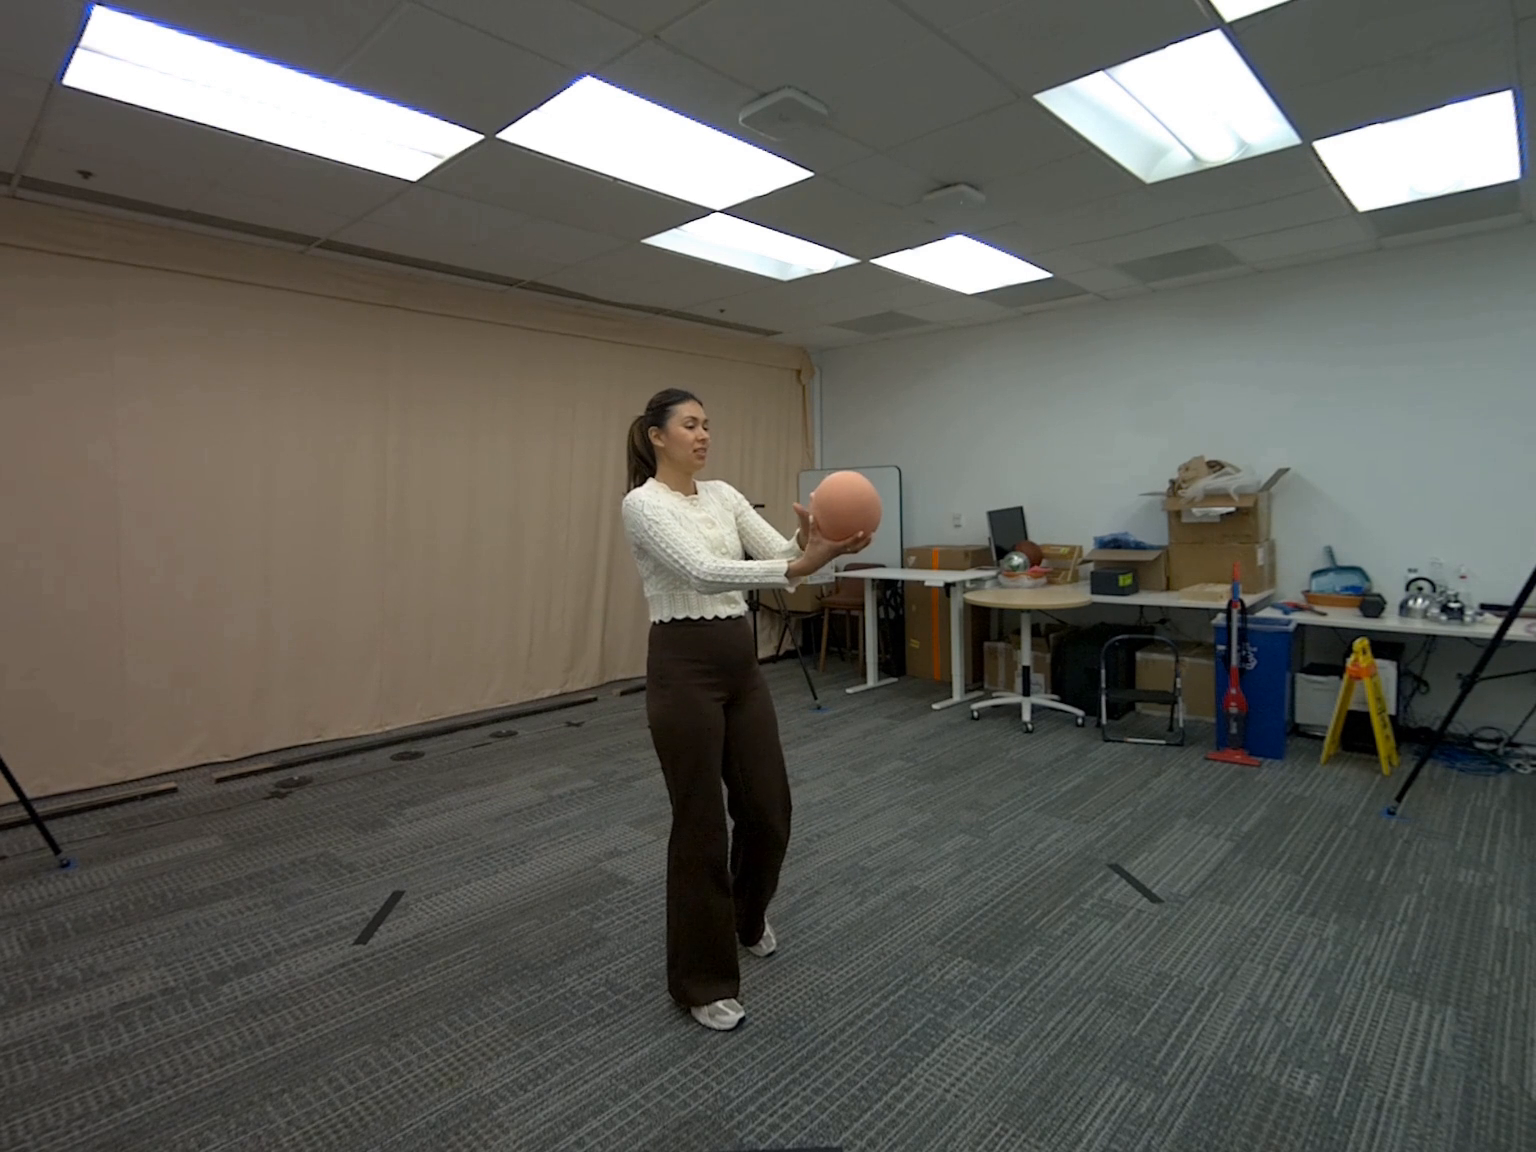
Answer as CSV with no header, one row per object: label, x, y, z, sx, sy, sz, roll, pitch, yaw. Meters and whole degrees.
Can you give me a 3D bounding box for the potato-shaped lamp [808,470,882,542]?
potato-shaped lamp,0.180,-0.157,1.923,0.165,0.172,0.197,9,-4,1
